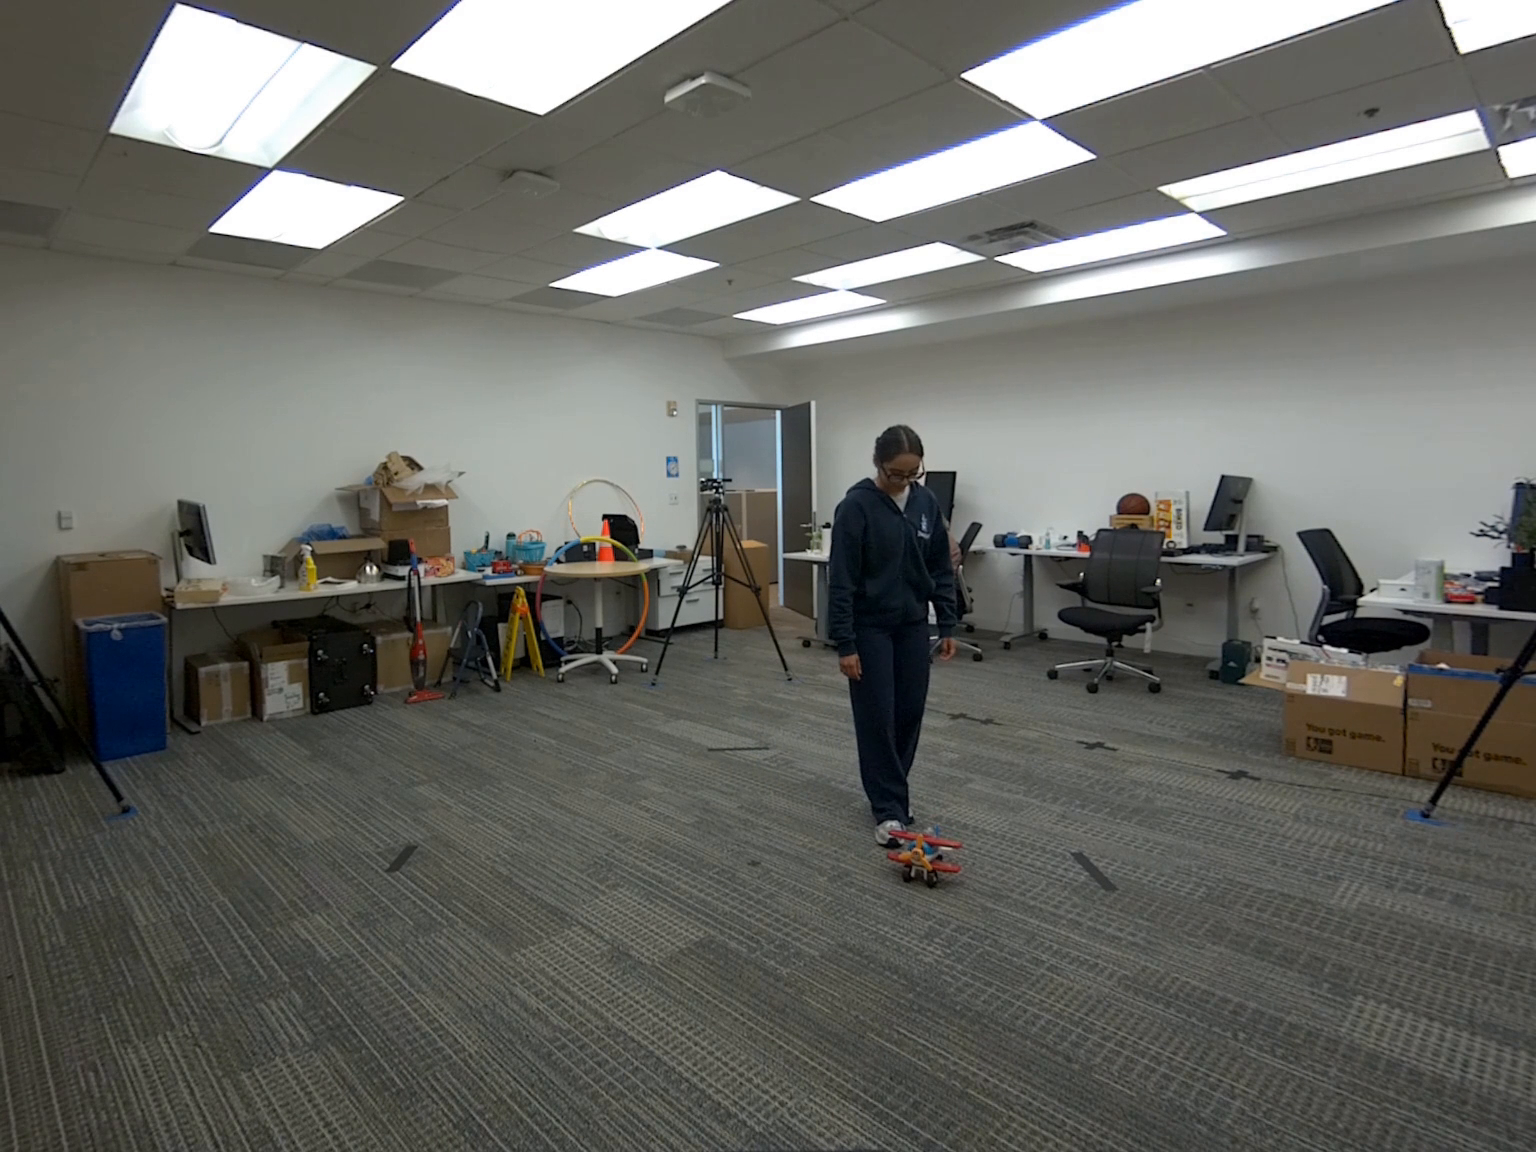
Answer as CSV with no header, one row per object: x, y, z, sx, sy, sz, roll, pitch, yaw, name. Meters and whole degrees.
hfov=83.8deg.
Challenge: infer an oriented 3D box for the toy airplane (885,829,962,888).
0.535,0.972,3.006,0.251,0.155,0.261,0,7,-1,toy airplane
